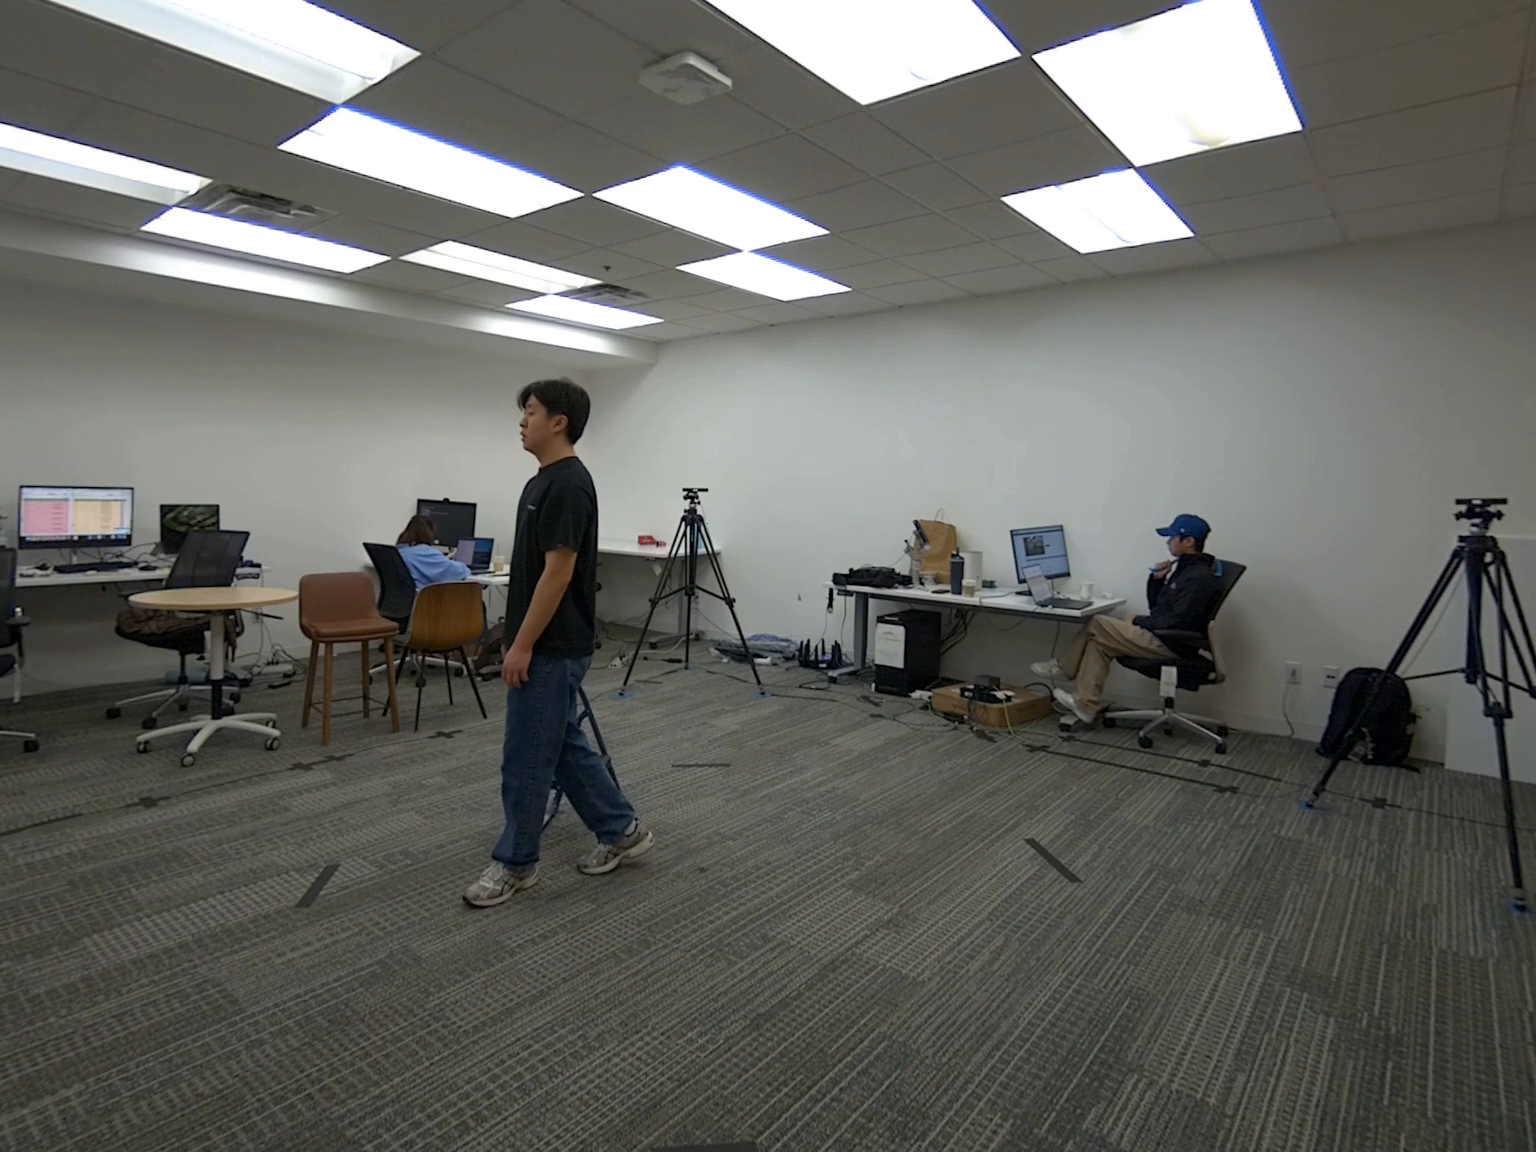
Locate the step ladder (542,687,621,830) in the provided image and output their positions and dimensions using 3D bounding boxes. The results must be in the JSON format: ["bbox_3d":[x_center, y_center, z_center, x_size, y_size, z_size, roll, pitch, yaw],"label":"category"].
[{"bbox_3d":[-0.765,0.724,3.432,0.350,0.605,0.430,1,3,2],"label":"step ladder"}]
